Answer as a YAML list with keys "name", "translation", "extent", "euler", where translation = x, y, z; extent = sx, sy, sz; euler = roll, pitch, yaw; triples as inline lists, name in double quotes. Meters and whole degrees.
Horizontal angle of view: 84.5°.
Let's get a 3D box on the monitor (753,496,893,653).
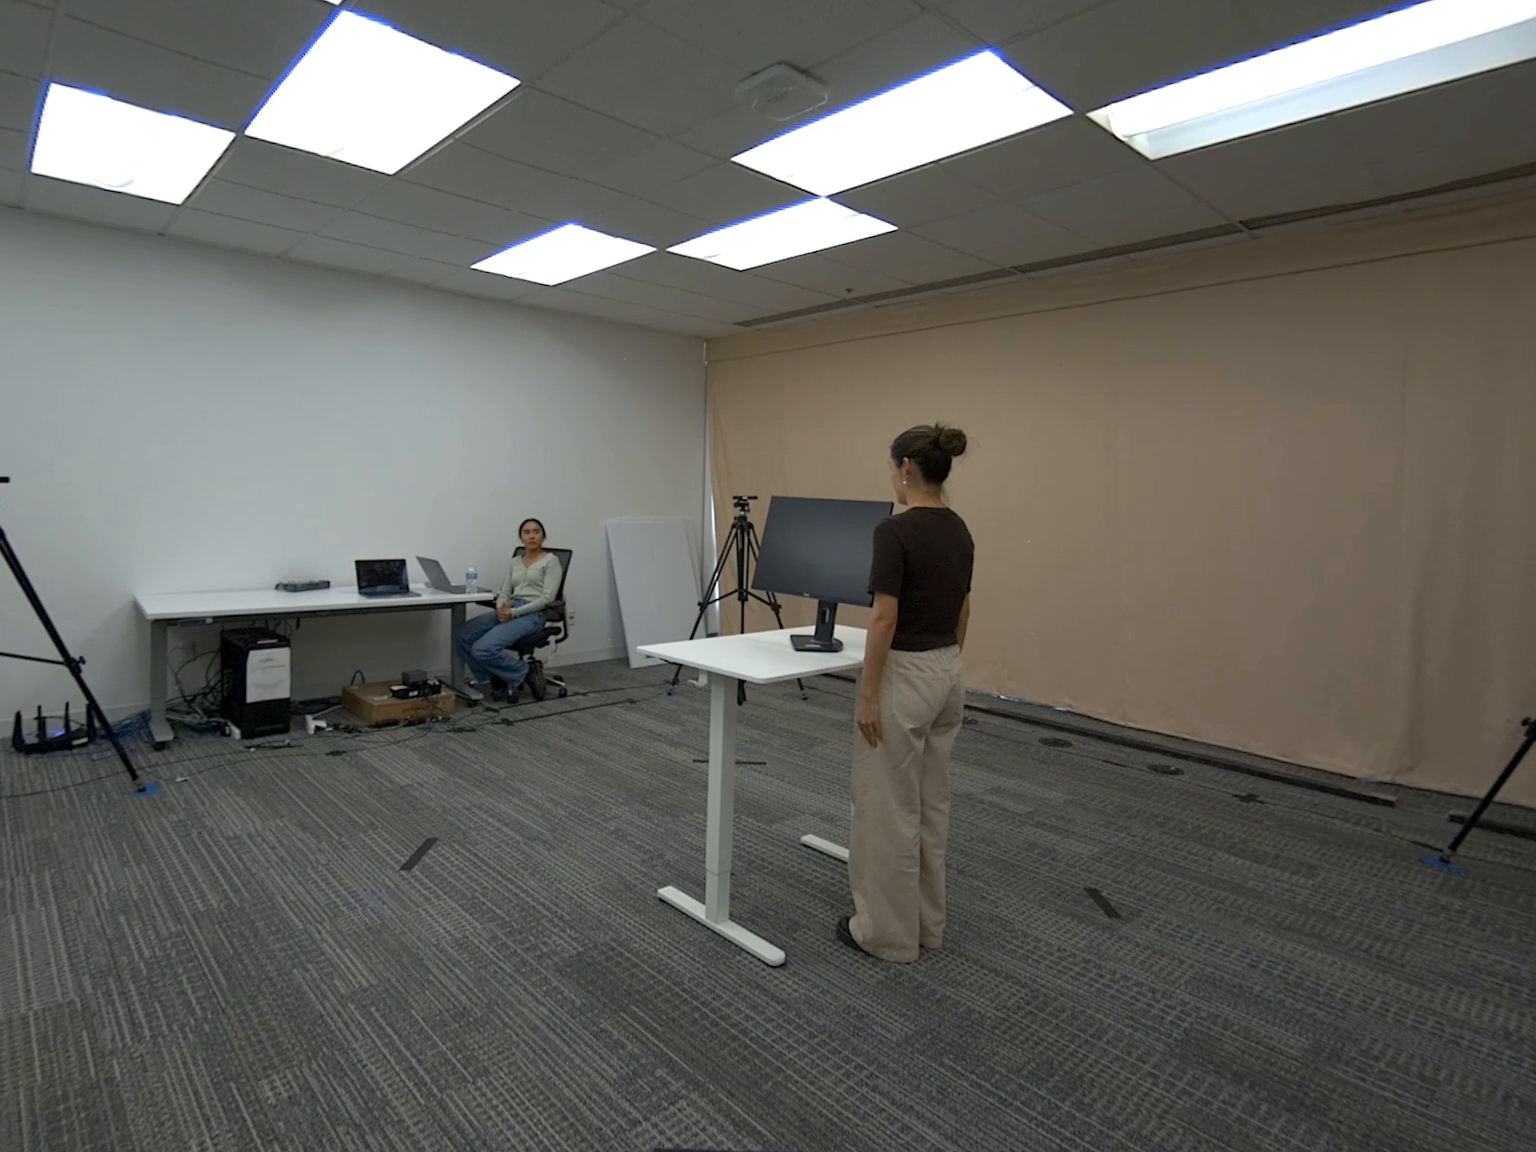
- name: "monitor"
  translation: [0.188, -0.006, 2.917]
  extent: [0.553, 0.521, 0.183]
  euler: [7, 7, 40]
